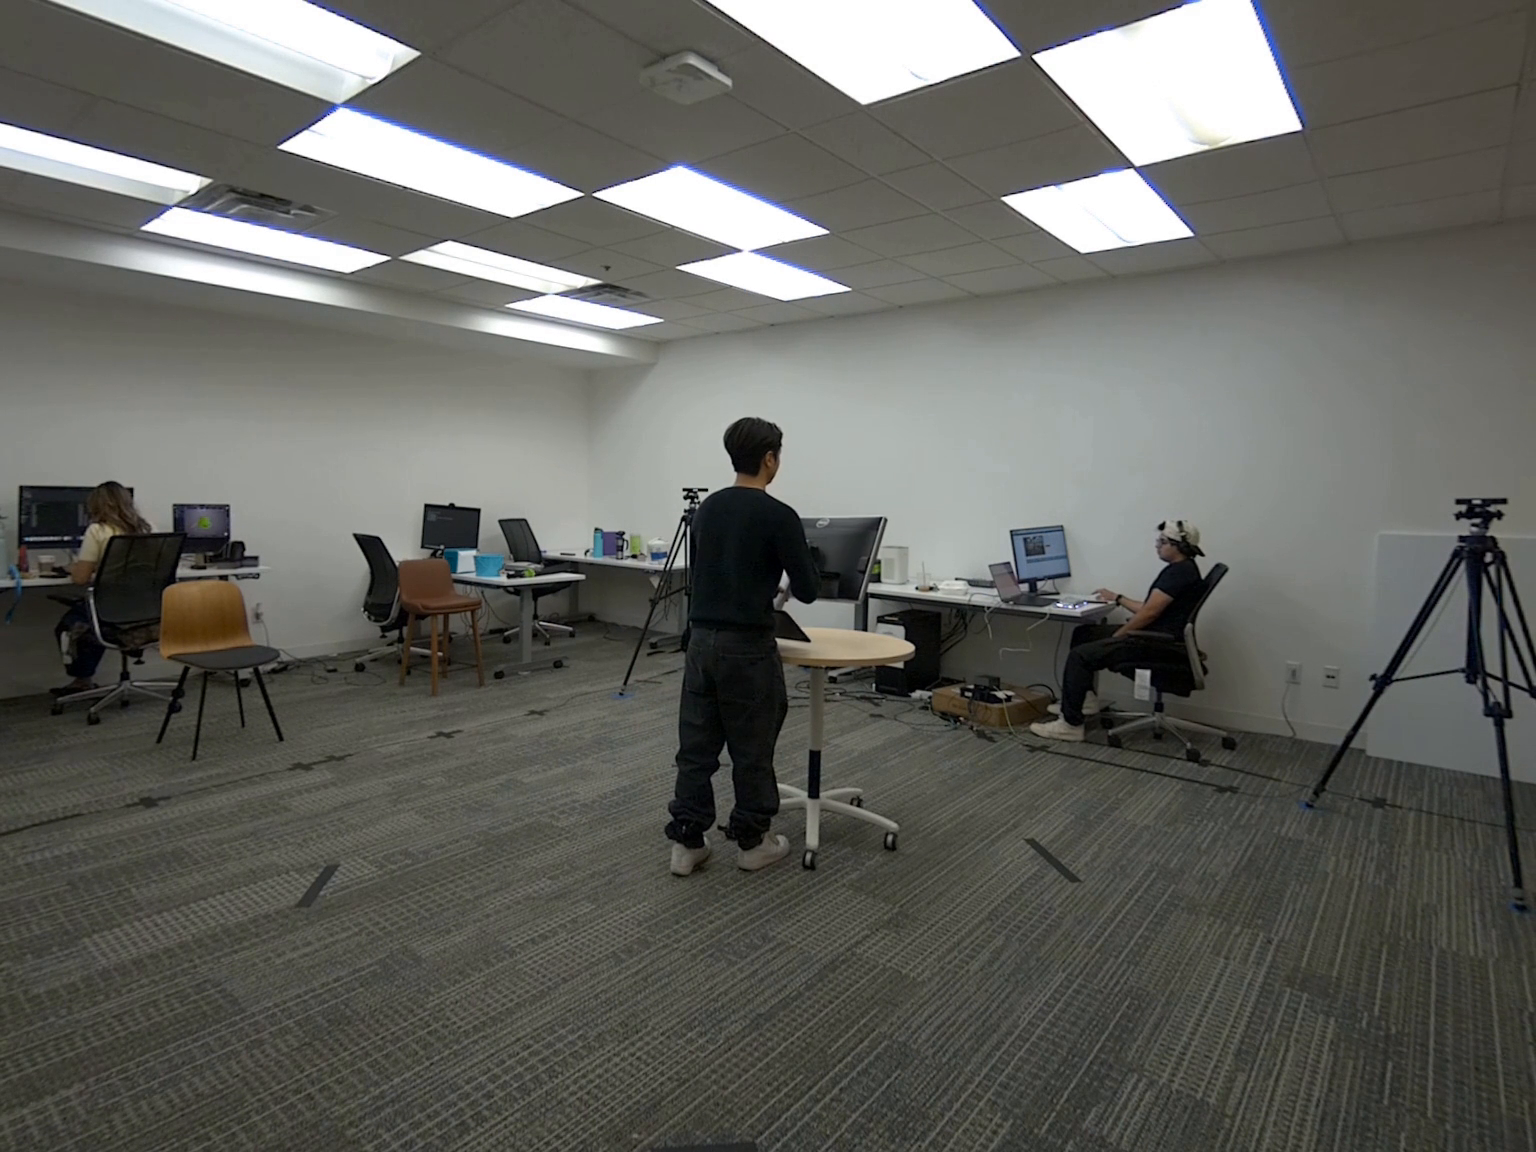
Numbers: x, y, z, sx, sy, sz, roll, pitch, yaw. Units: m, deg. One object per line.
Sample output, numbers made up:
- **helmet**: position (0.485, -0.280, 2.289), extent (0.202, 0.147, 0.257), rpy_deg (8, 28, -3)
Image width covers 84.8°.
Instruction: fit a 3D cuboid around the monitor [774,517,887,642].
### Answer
- **monitor**: position (0.139, -0.019, 3.401), extent (0.557, 0.526, 0.179), rpy_deg (4, -34, 43)
